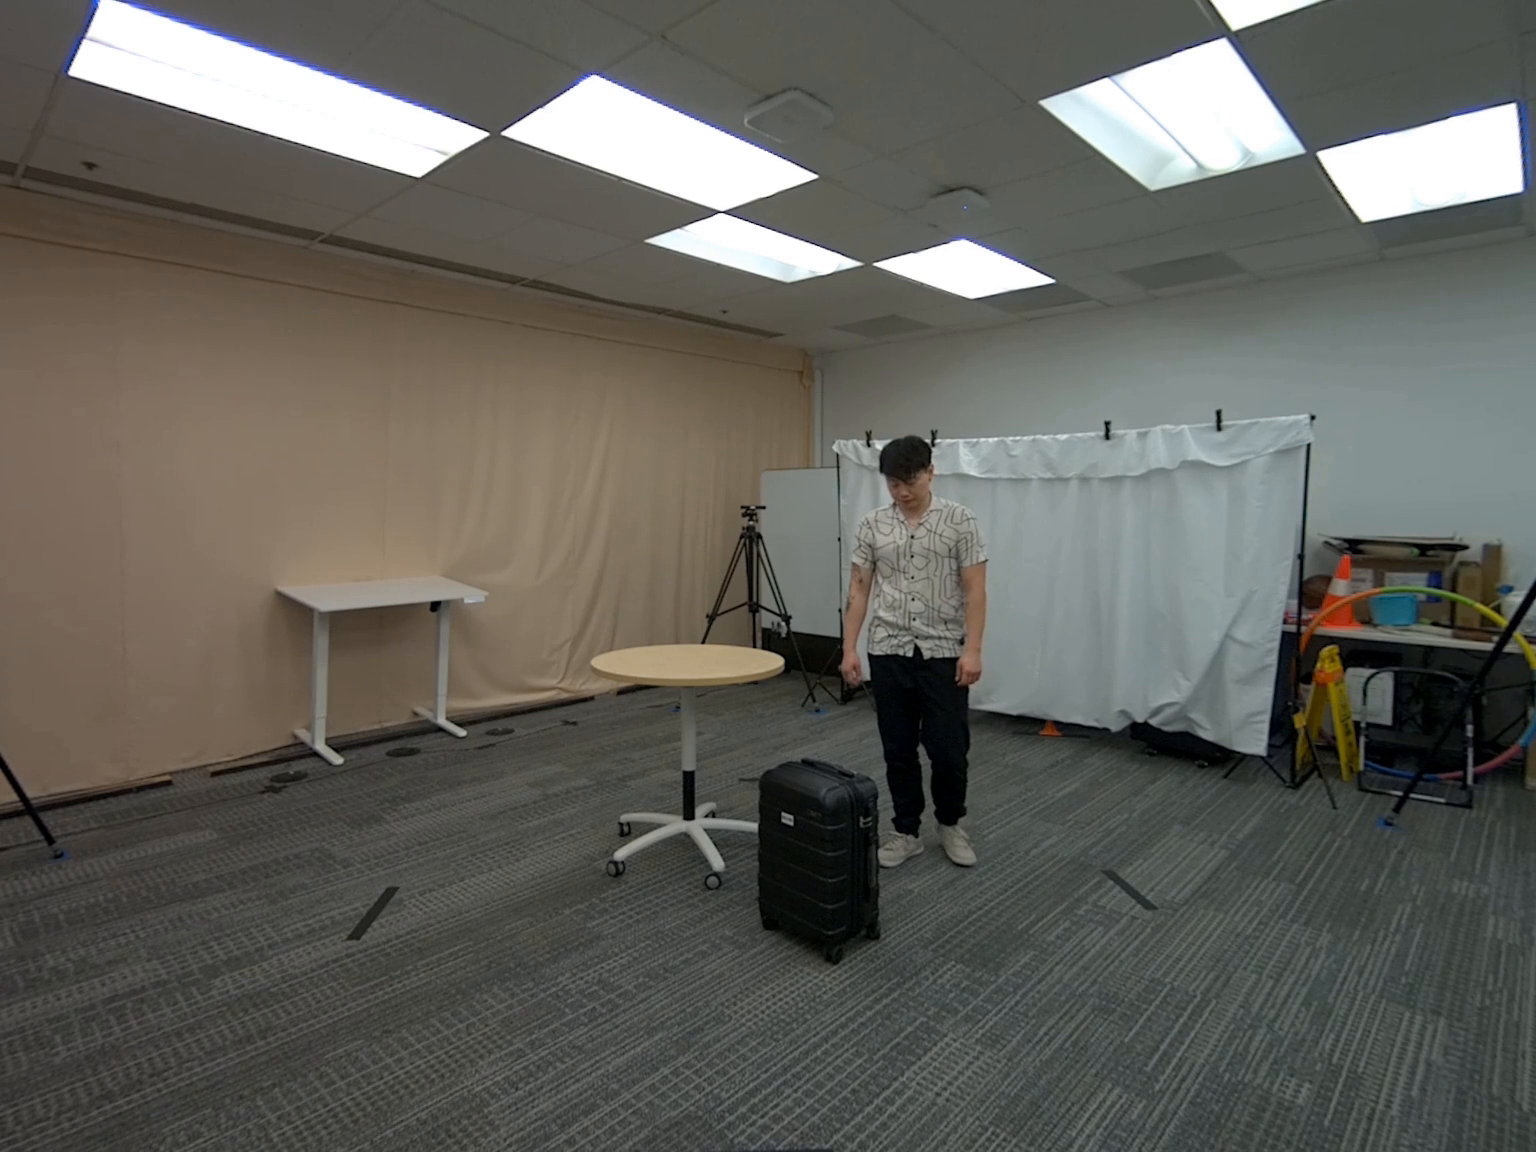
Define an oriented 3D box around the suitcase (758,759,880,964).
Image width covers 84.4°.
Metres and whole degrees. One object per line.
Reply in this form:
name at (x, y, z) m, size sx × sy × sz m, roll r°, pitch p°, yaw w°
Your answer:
suitcase at (0.168, 0.888, 2.719) m, size 0.241 × 0.548 × 0.388 m, roll -5°, pitch 6°, yaw -42°
